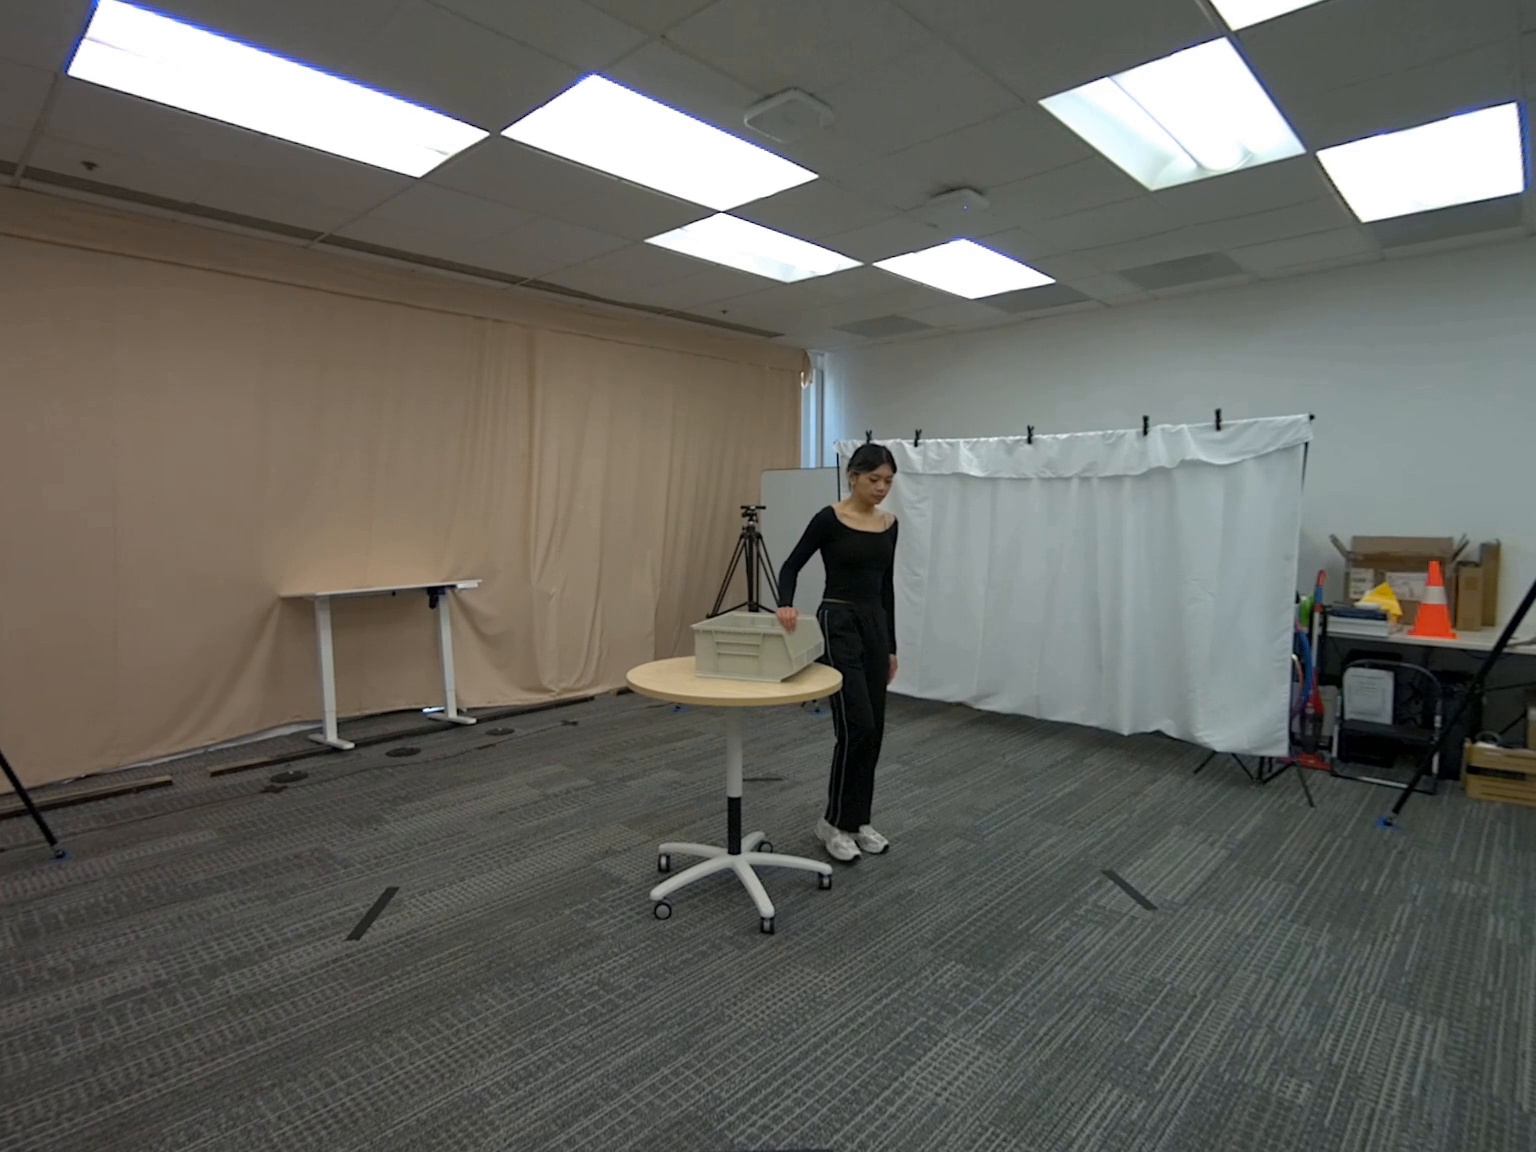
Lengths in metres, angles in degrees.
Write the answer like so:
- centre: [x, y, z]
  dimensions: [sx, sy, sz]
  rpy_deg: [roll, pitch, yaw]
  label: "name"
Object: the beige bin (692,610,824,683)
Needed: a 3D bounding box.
- centre: [-0.027, 0.252, 3.080]
  dimensions: [0.385, 0.188, 0.415]
  rpy_deg: [0, 5, 19]
  label: "beige bin"
